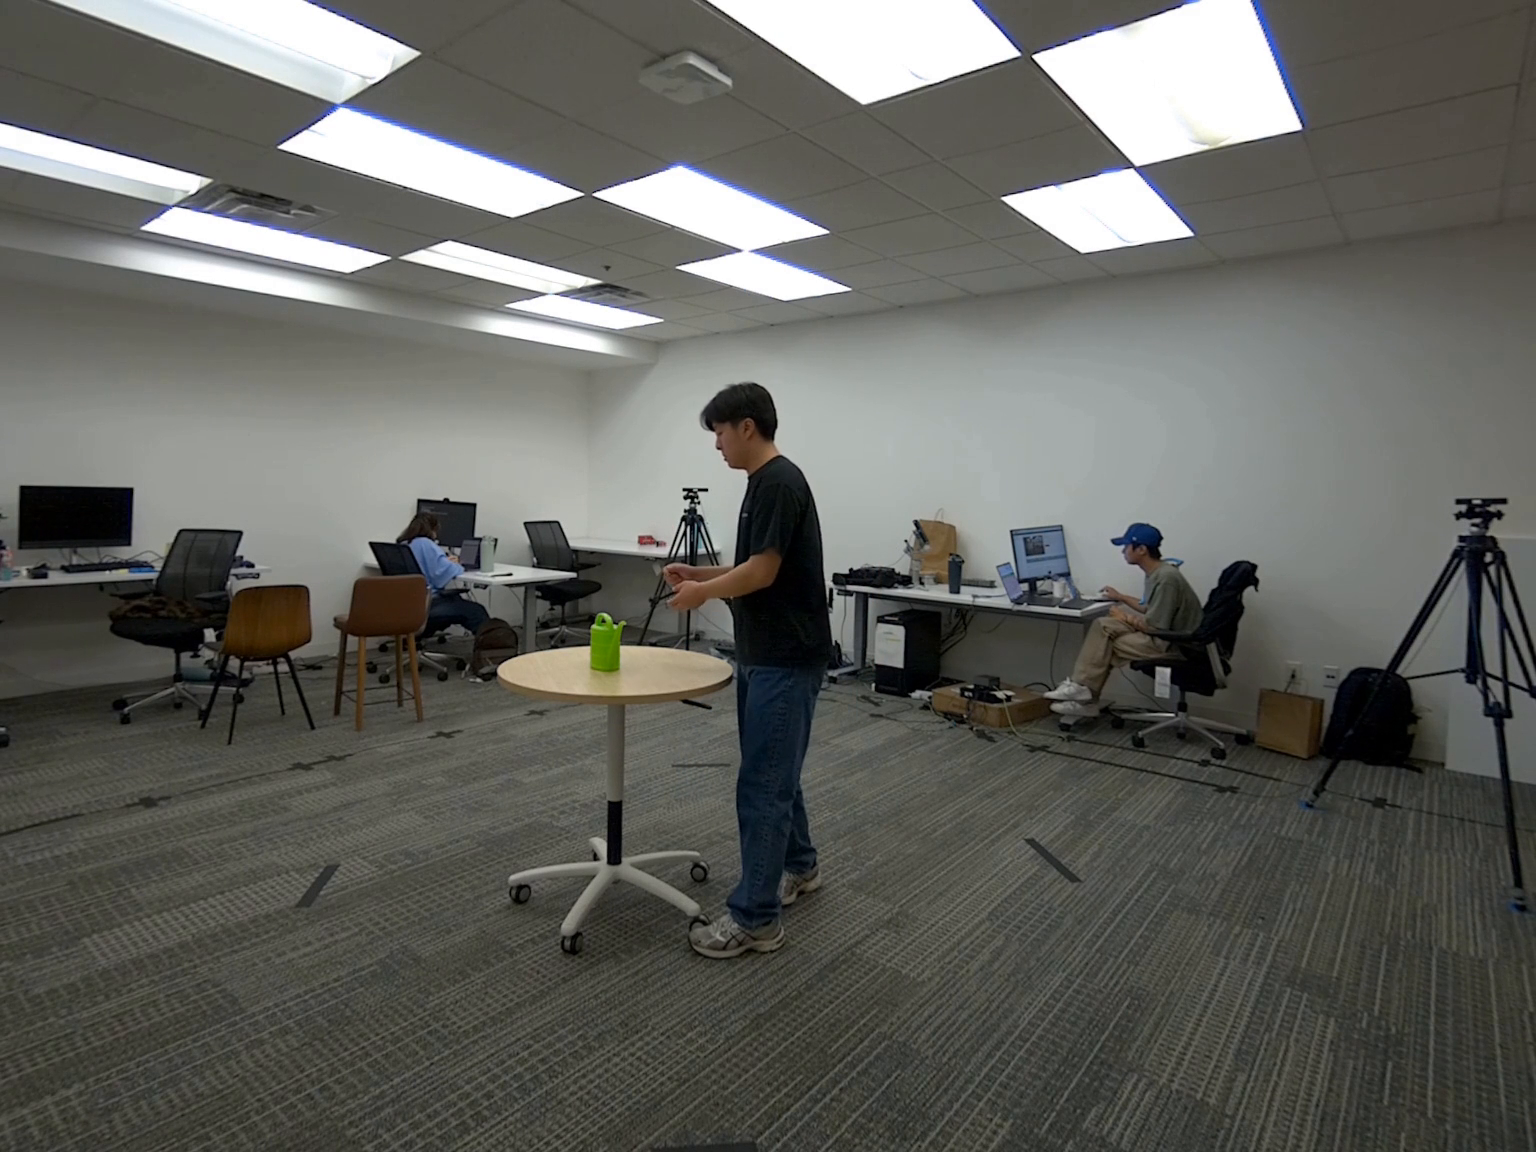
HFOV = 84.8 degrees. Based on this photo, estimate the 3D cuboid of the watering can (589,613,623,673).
[{"bbox_3d":[-0.531,0.214,2.755,0.097,0.176,0.283,-1,4,-14],"label":"watering can"}]
